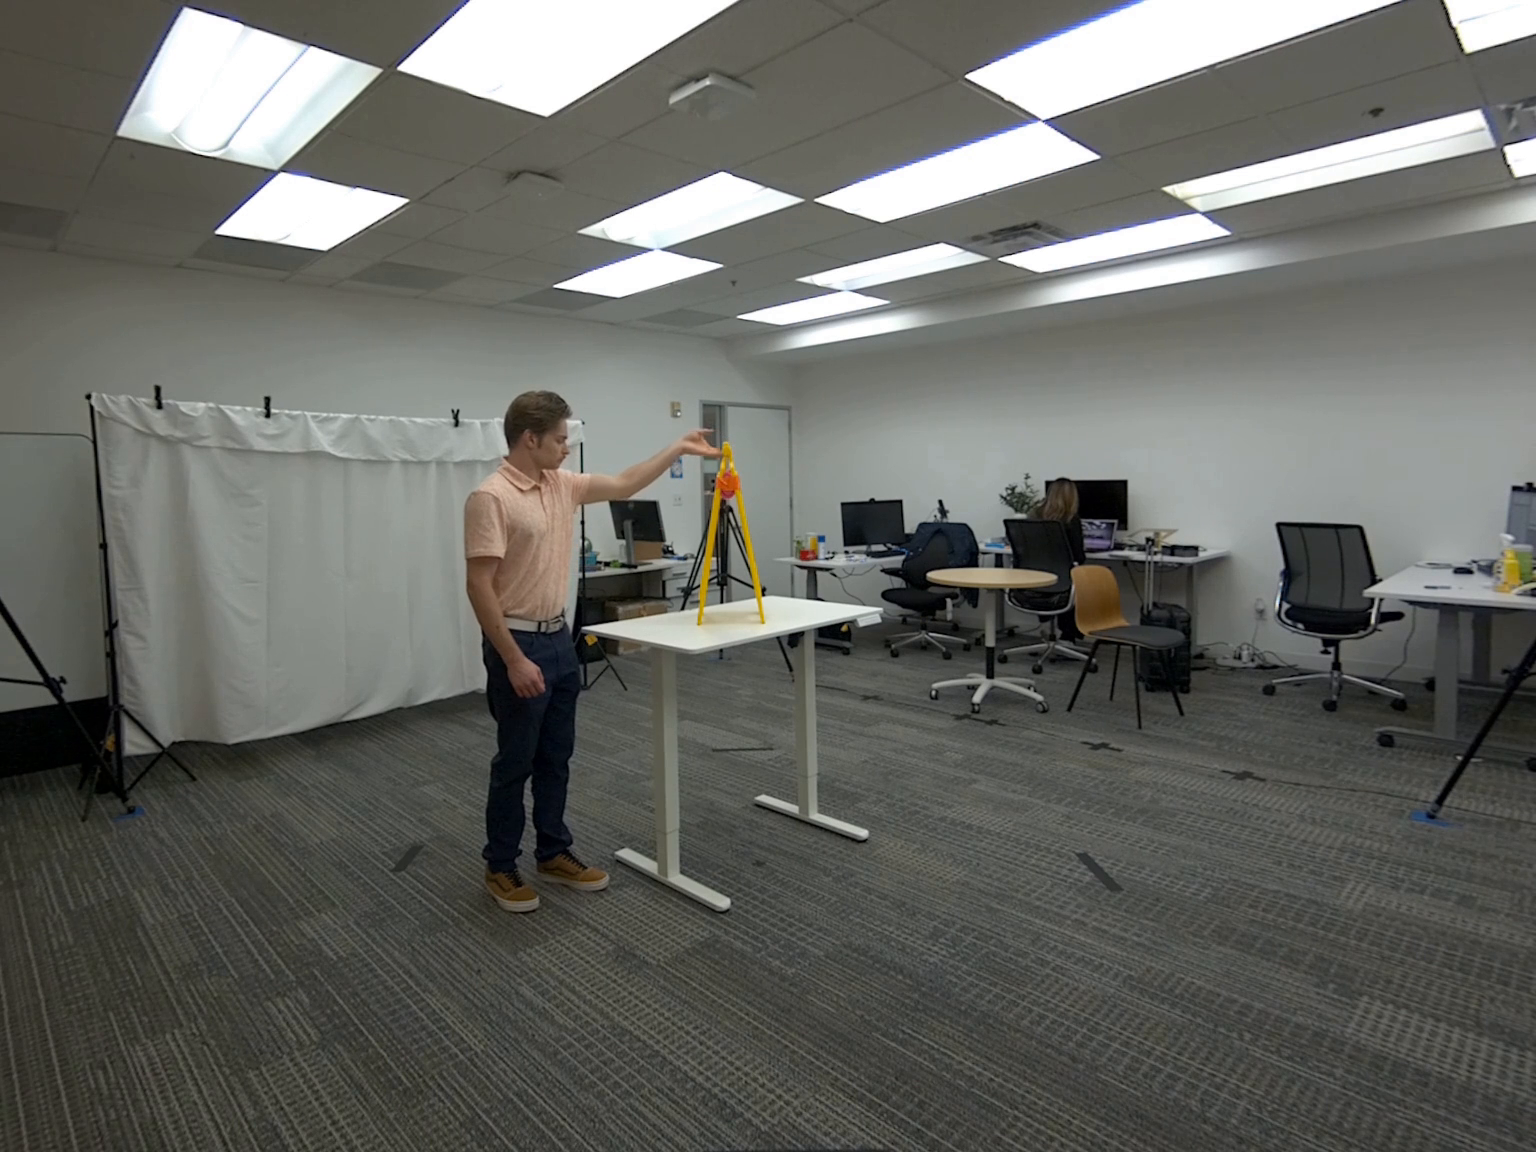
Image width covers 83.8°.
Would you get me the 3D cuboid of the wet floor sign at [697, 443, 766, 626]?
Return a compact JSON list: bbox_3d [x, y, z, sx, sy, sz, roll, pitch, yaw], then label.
[{"bbox_3d":[-0.140,-0.161,3.163,0.290,0.644,0.283,-1,3,1],"label":"wet floor sign"}]
